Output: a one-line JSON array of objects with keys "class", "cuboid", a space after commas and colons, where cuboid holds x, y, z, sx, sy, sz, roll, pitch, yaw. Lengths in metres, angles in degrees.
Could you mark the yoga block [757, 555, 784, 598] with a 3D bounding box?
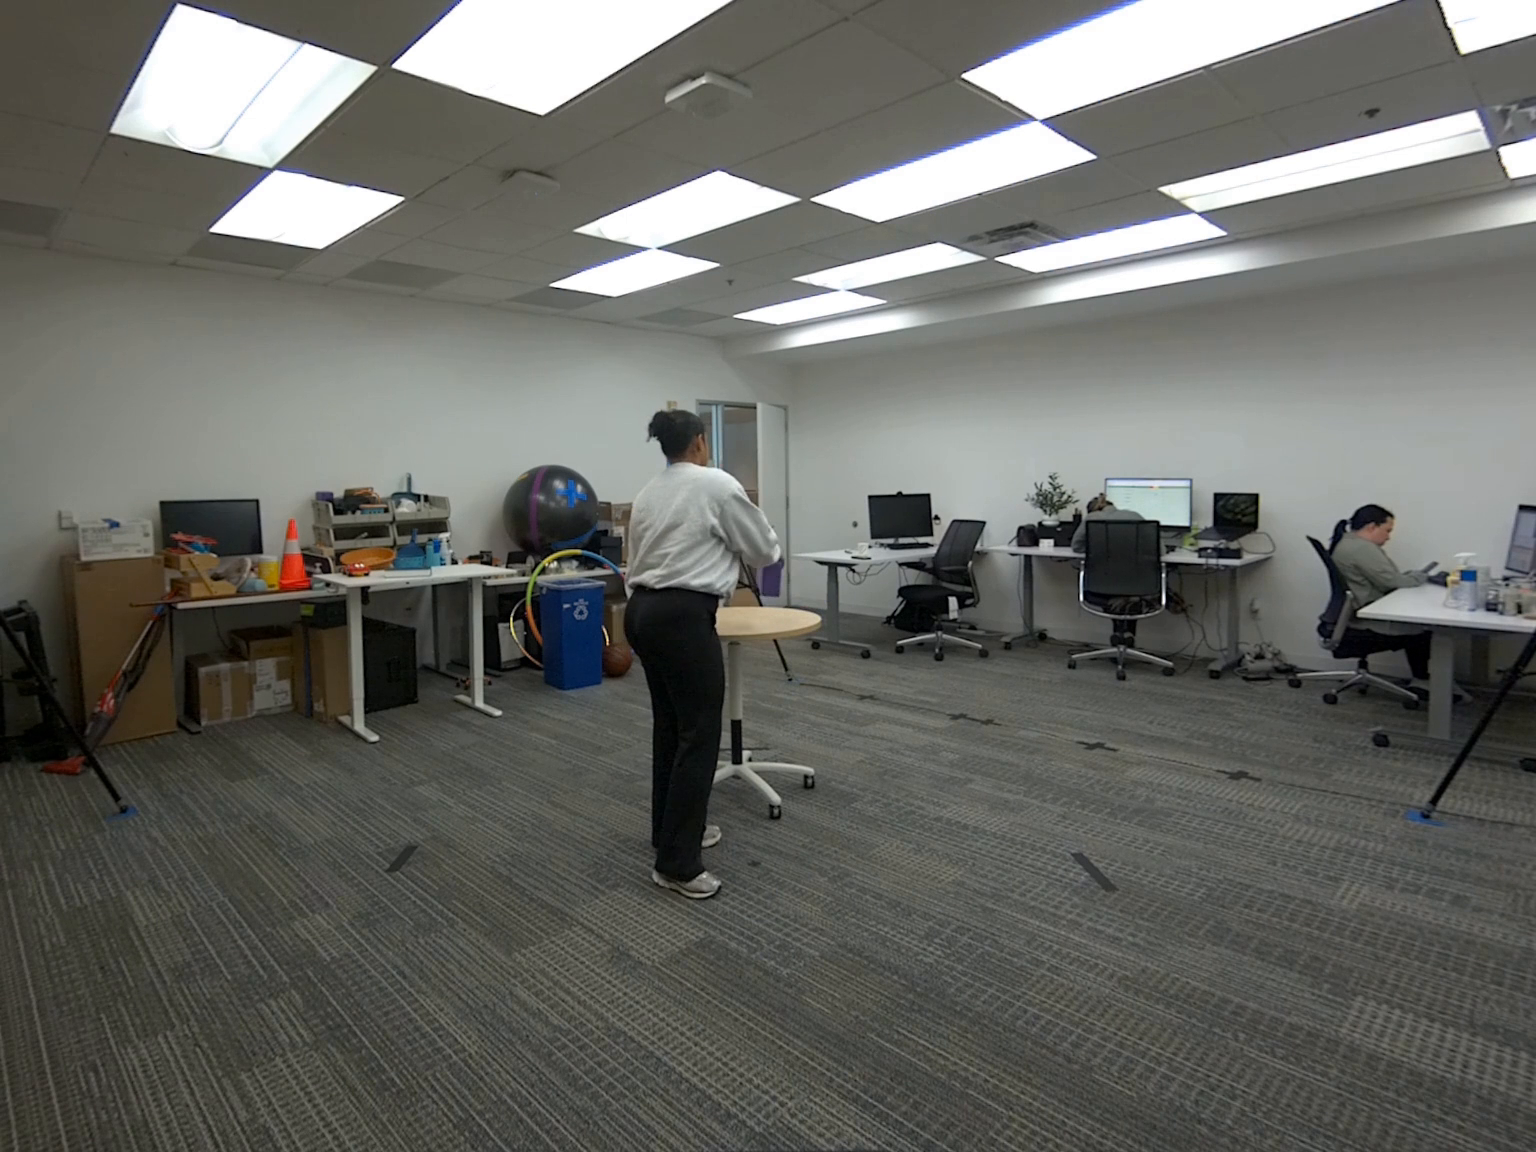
[{"class": "yoga block", "cuboid": [0.014, -0.002, 3.484, 0.076, 0.147, 0.233, 1, 16, -3]}]
